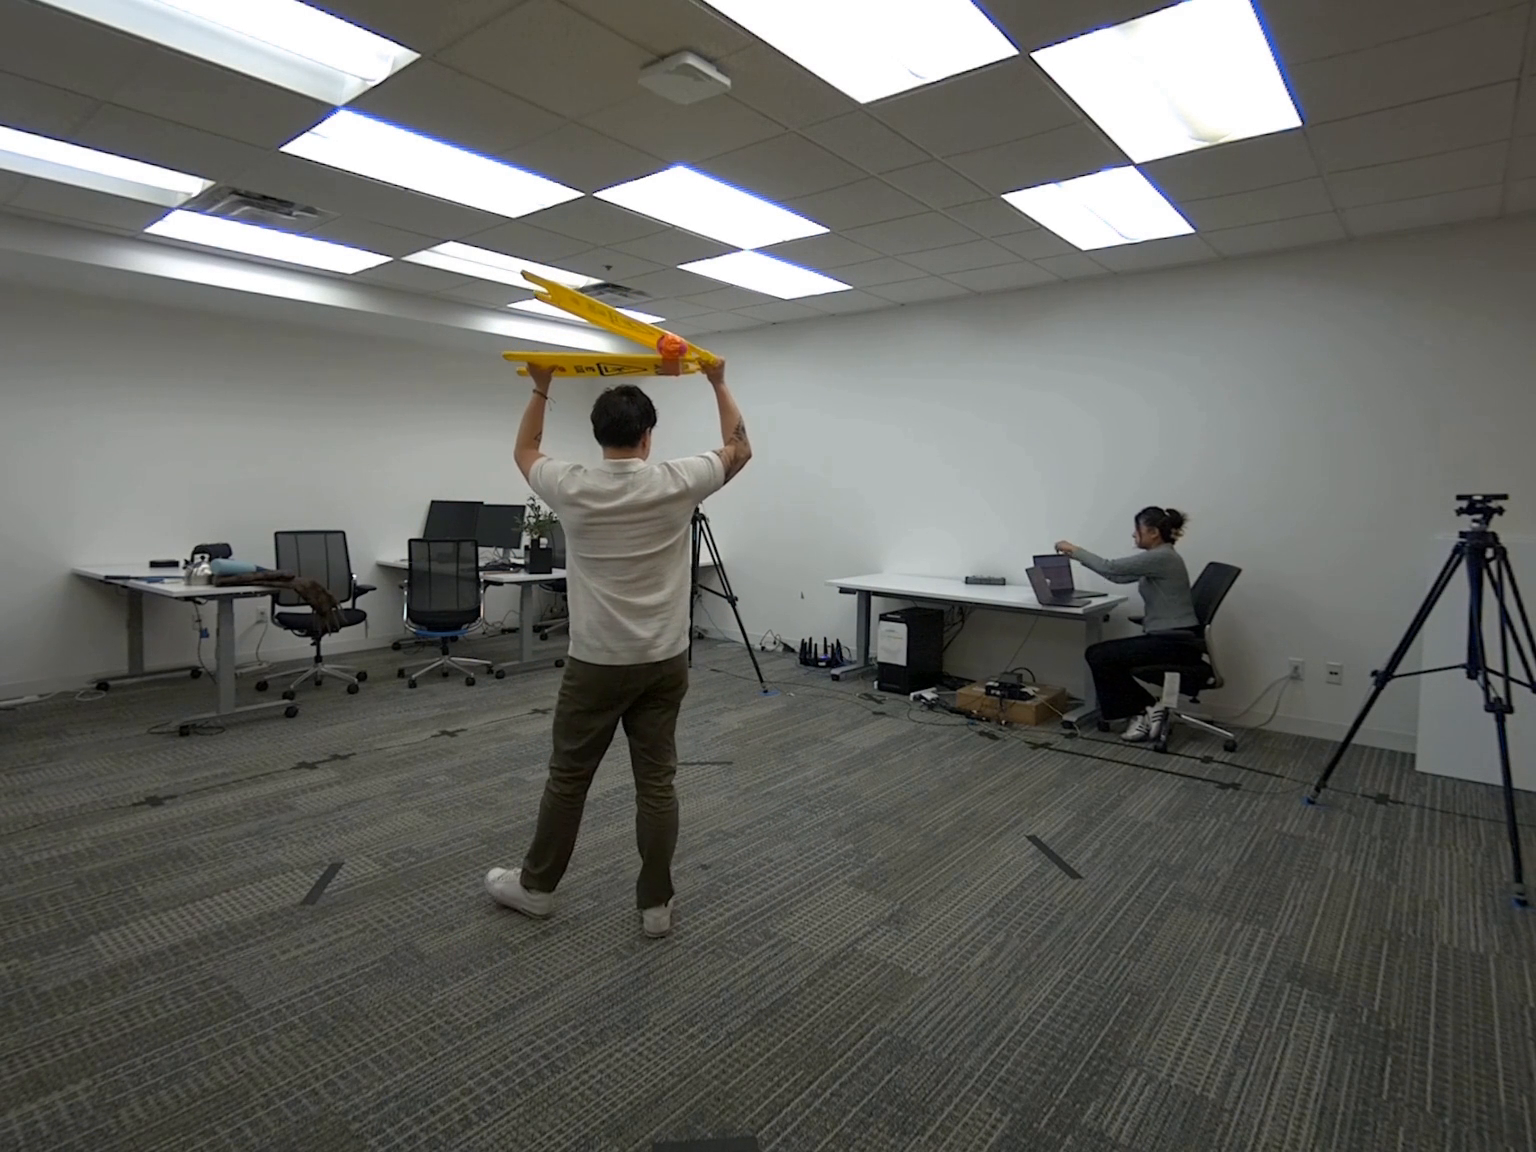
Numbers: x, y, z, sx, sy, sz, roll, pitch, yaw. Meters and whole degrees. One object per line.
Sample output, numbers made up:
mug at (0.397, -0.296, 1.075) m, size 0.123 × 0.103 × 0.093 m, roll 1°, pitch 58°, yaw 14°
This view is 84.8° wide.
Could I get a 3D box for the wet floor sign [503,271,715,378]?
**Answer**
wet floor sign at (-0.507, -0.752, 2.737) m, size 0.644 × 0.290 × 0.282 m, roll 11°, pitch -2°, yaw -2°
